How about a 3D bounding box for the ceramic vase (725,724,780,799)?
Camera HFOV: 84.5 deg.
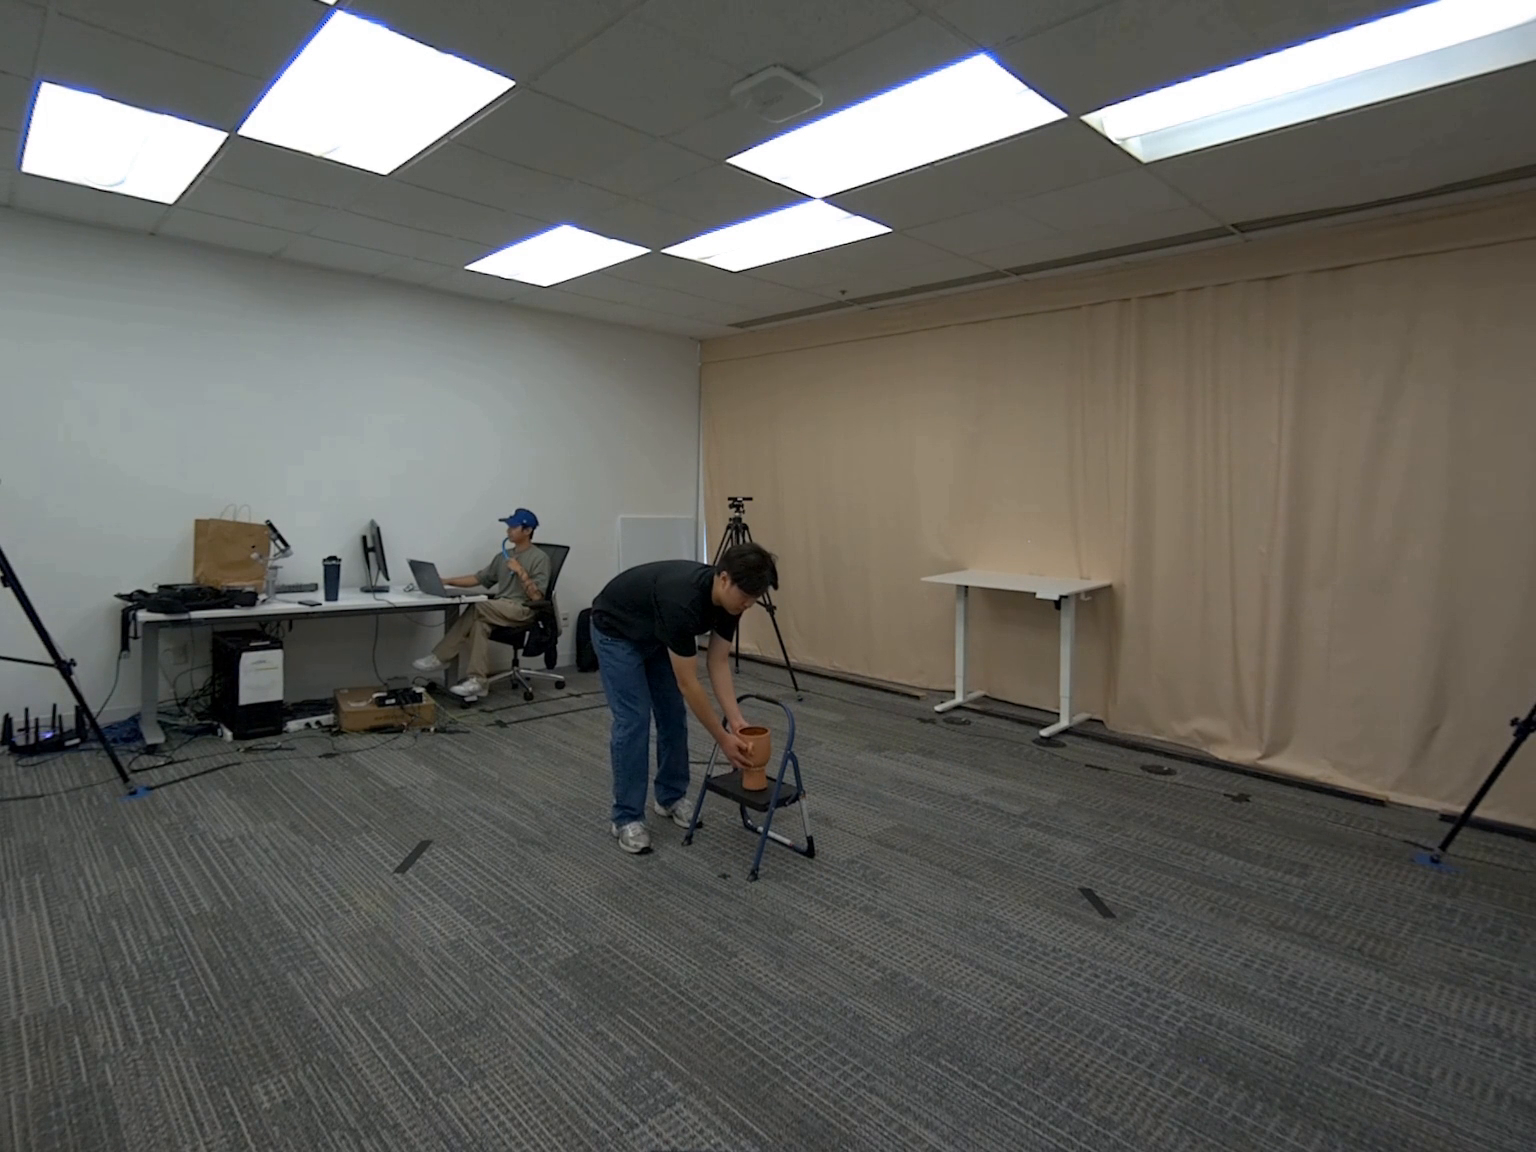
[{"bbox_3d":[-0.064,0.714,3.289,0.138,0.218,0.155,4,10,44],"label":"ceramic vase"}]
